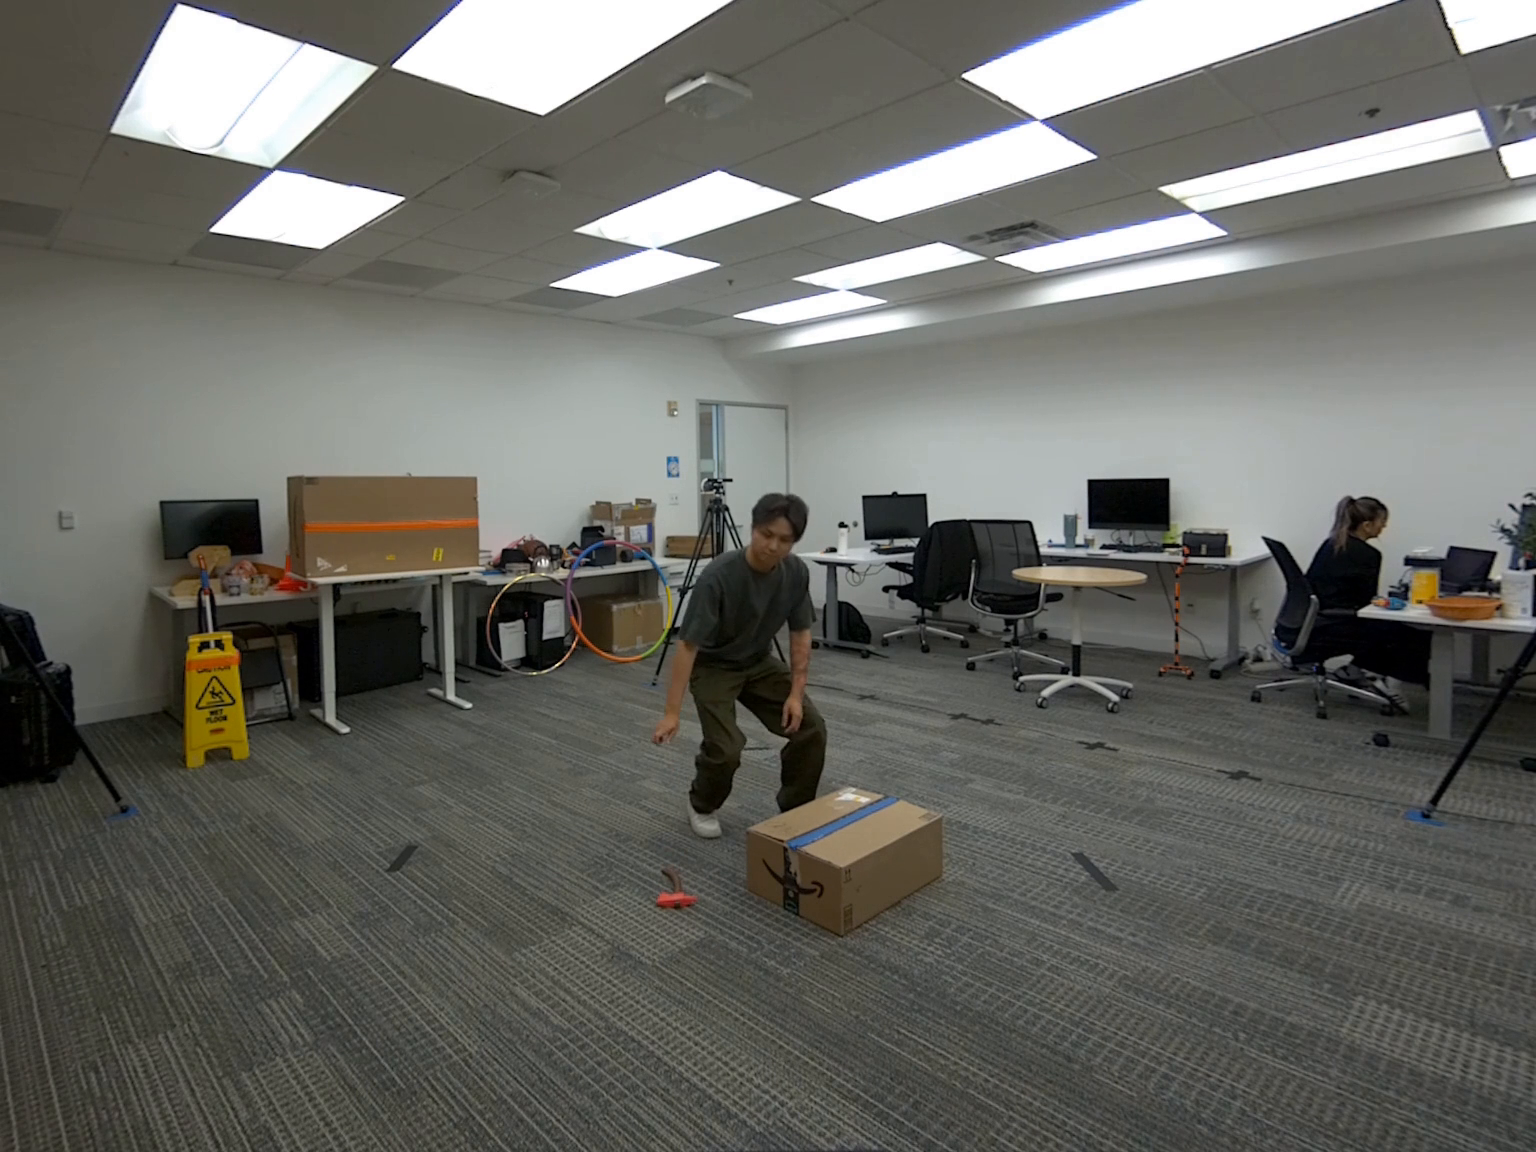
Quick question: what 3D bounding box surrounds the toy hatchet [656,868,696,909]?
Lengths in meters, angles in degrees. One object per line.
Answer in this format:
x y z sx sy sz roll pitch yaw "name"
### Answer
-0.342 1.065 2.906 0.128 0.029 0.276 -6 6 -23 "toy hatchet"
